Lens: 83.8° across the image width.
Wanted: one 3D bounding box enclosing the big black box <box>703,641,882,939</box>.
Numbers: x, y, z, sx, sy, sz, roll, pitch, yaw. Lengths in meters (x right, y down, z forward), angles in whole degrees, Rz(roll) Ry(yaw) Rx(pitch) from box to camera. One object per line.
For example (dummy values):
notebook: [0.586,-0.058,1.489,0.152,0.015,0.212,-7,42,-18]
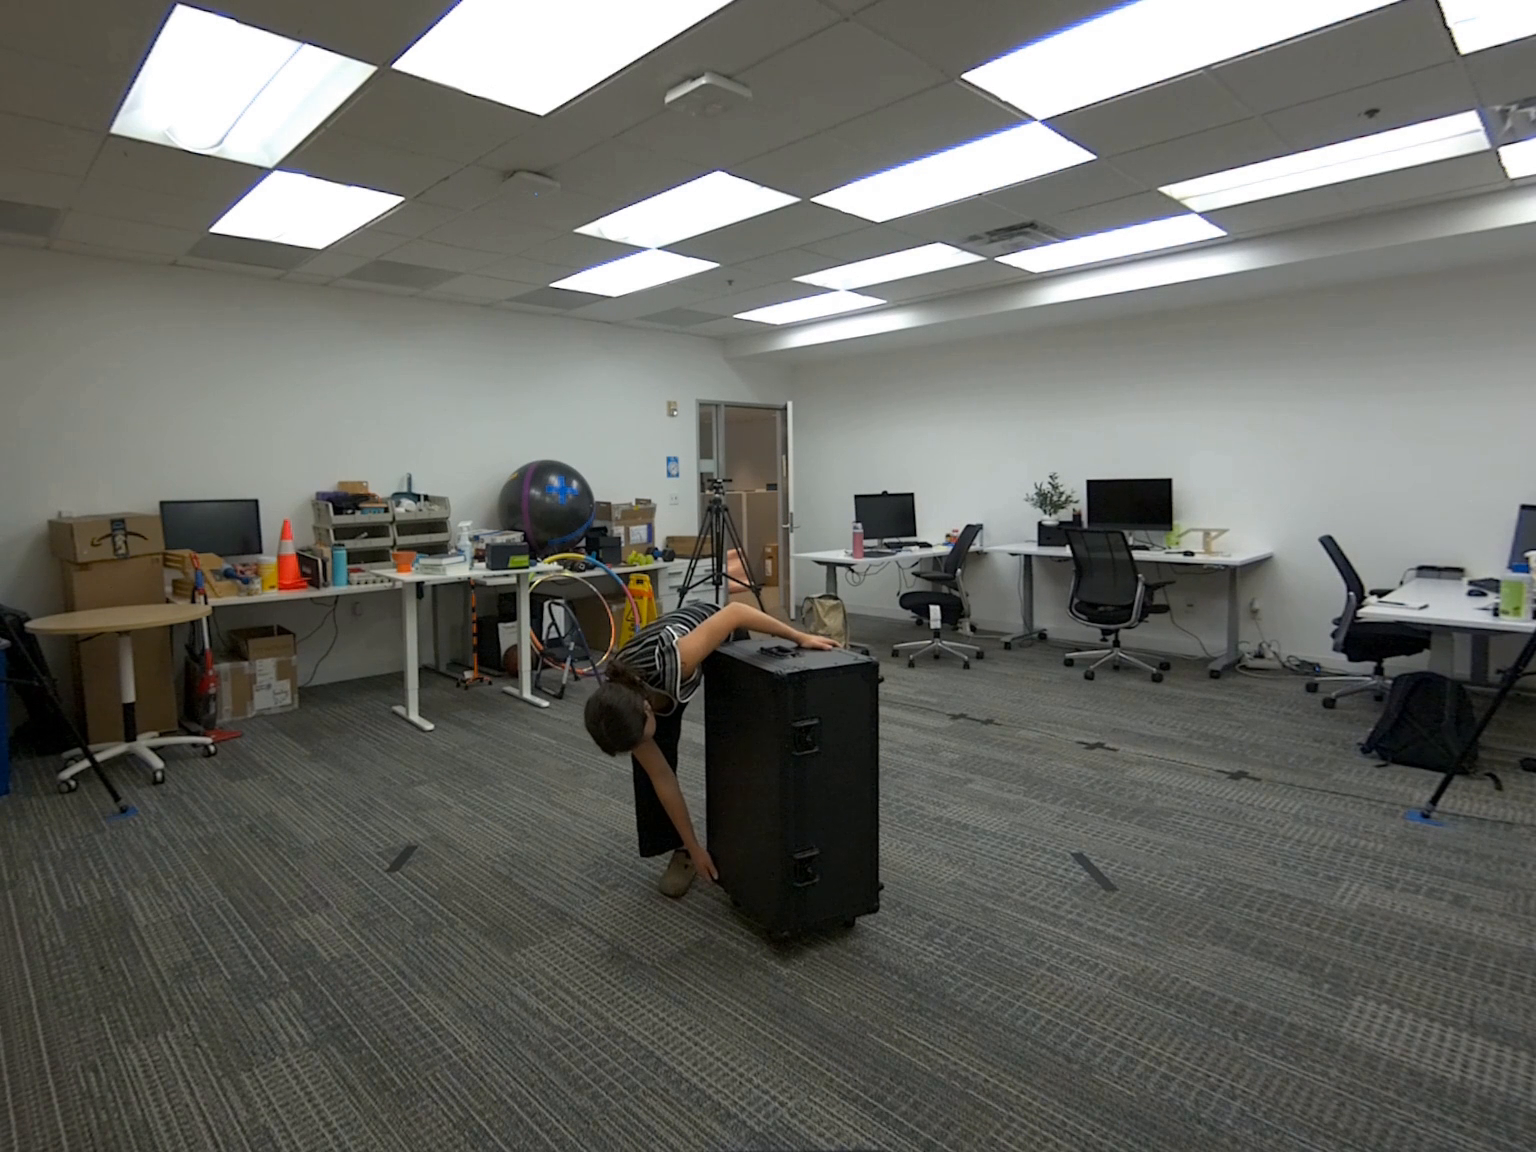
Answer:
big black box: [0.077,0.662,2.715,0.387,0.858,0.535,-2,5,-29]
